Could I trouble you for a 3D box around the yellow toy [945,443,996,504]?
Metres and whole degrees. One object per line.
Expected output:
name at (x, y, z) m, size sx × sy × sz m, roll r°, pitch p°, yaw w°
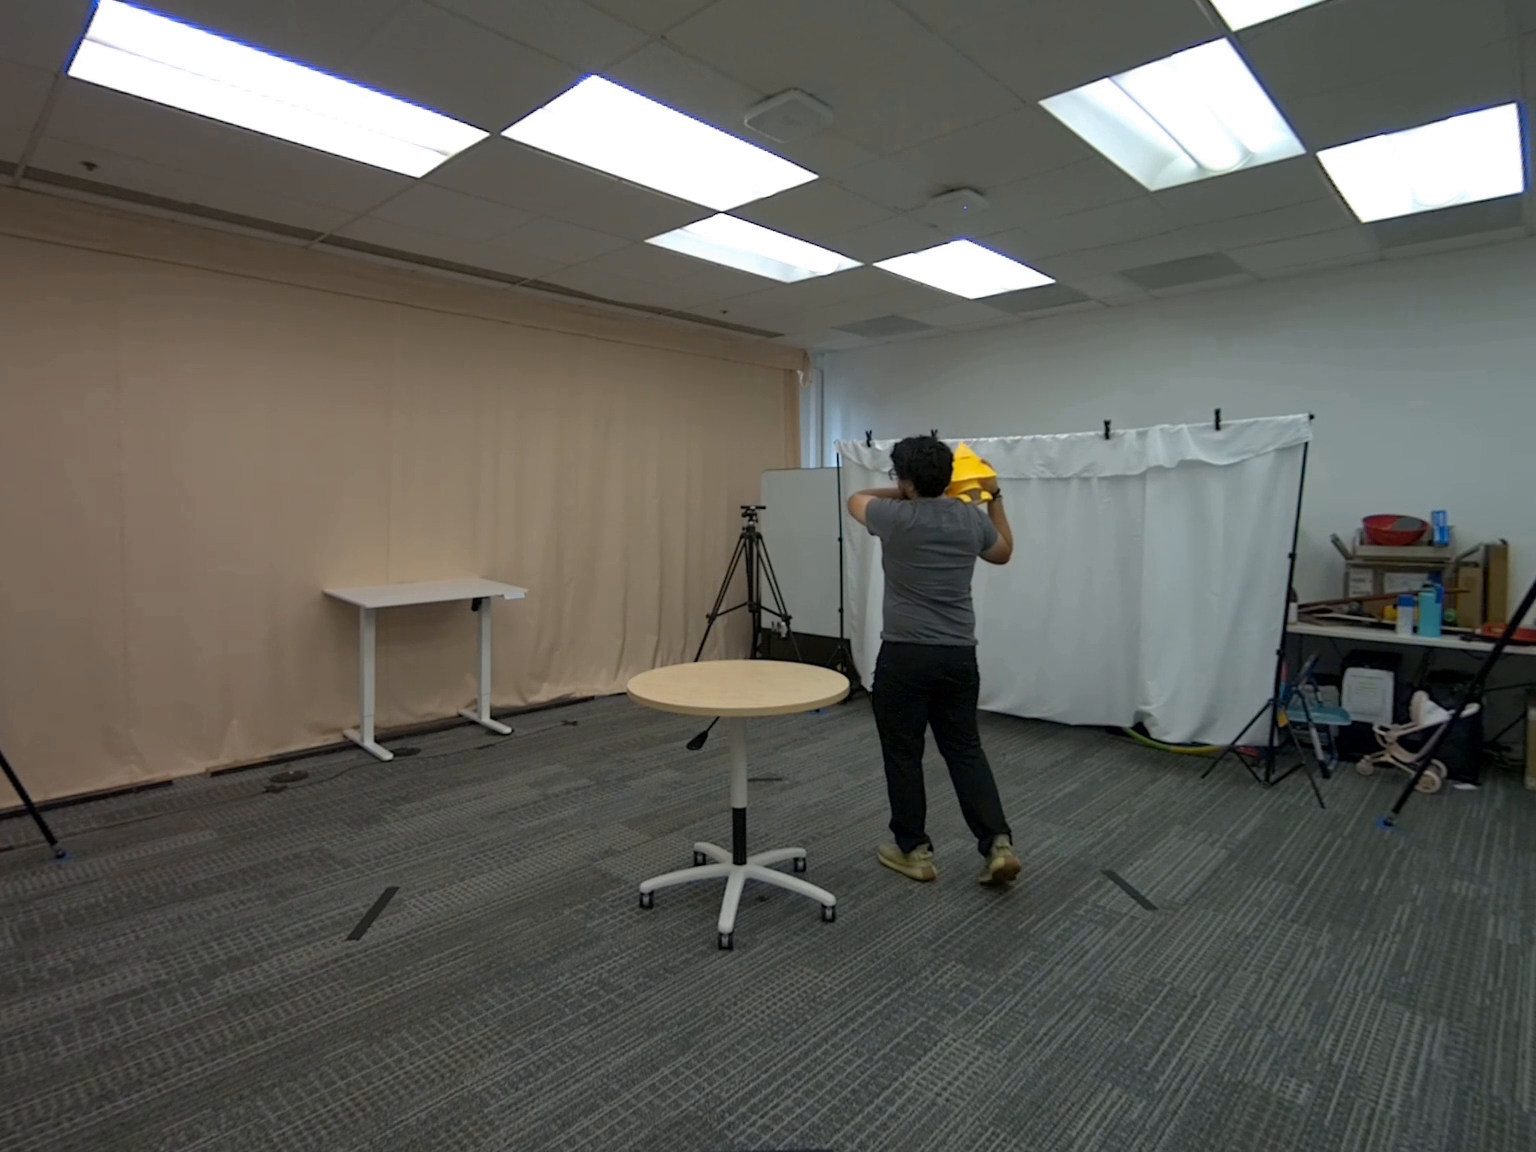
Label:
yellow toy at (0.734, -0.382, 3.198) m, size 0.201 × 0.232 × 0.195 m, roll -9°, pitch -8°, yaw -21°
